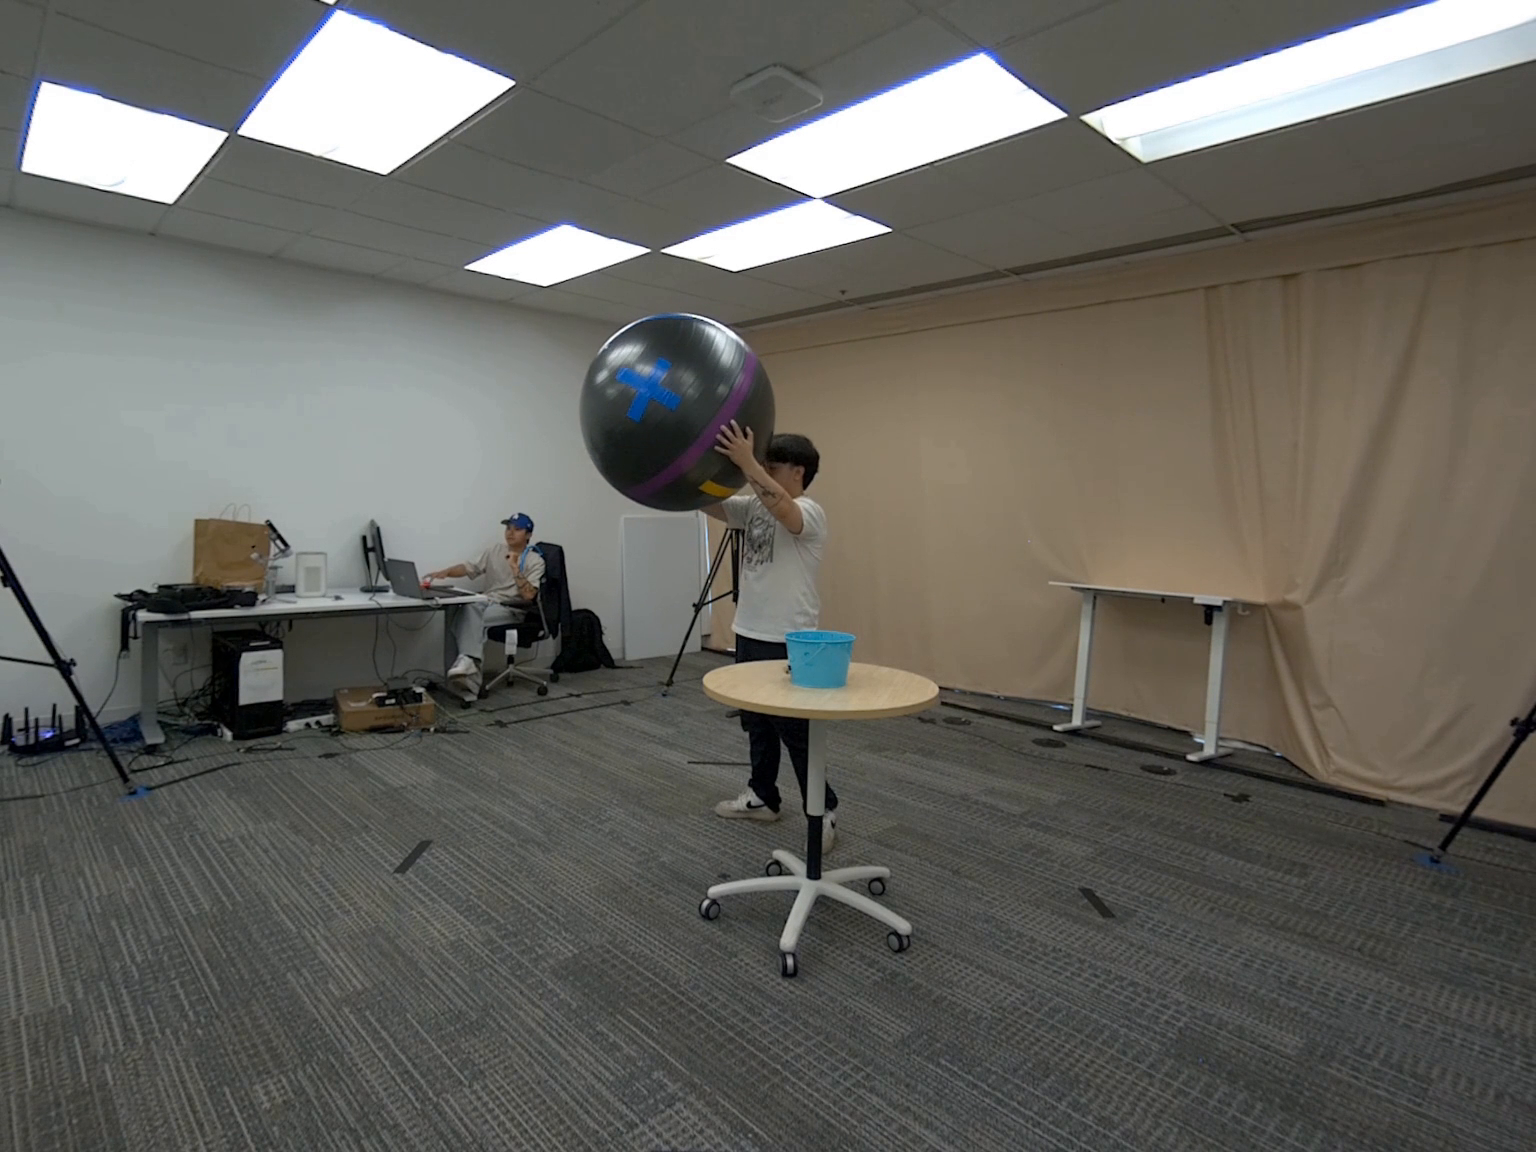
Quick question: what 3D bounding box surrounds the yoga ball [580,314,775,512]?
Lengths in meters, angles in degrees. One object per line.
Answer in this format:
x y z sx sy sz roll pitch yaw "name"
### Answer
-0.353 -0.623 3.269 0.757 0.756 0.760 1 4 -1 "yoga ball"
